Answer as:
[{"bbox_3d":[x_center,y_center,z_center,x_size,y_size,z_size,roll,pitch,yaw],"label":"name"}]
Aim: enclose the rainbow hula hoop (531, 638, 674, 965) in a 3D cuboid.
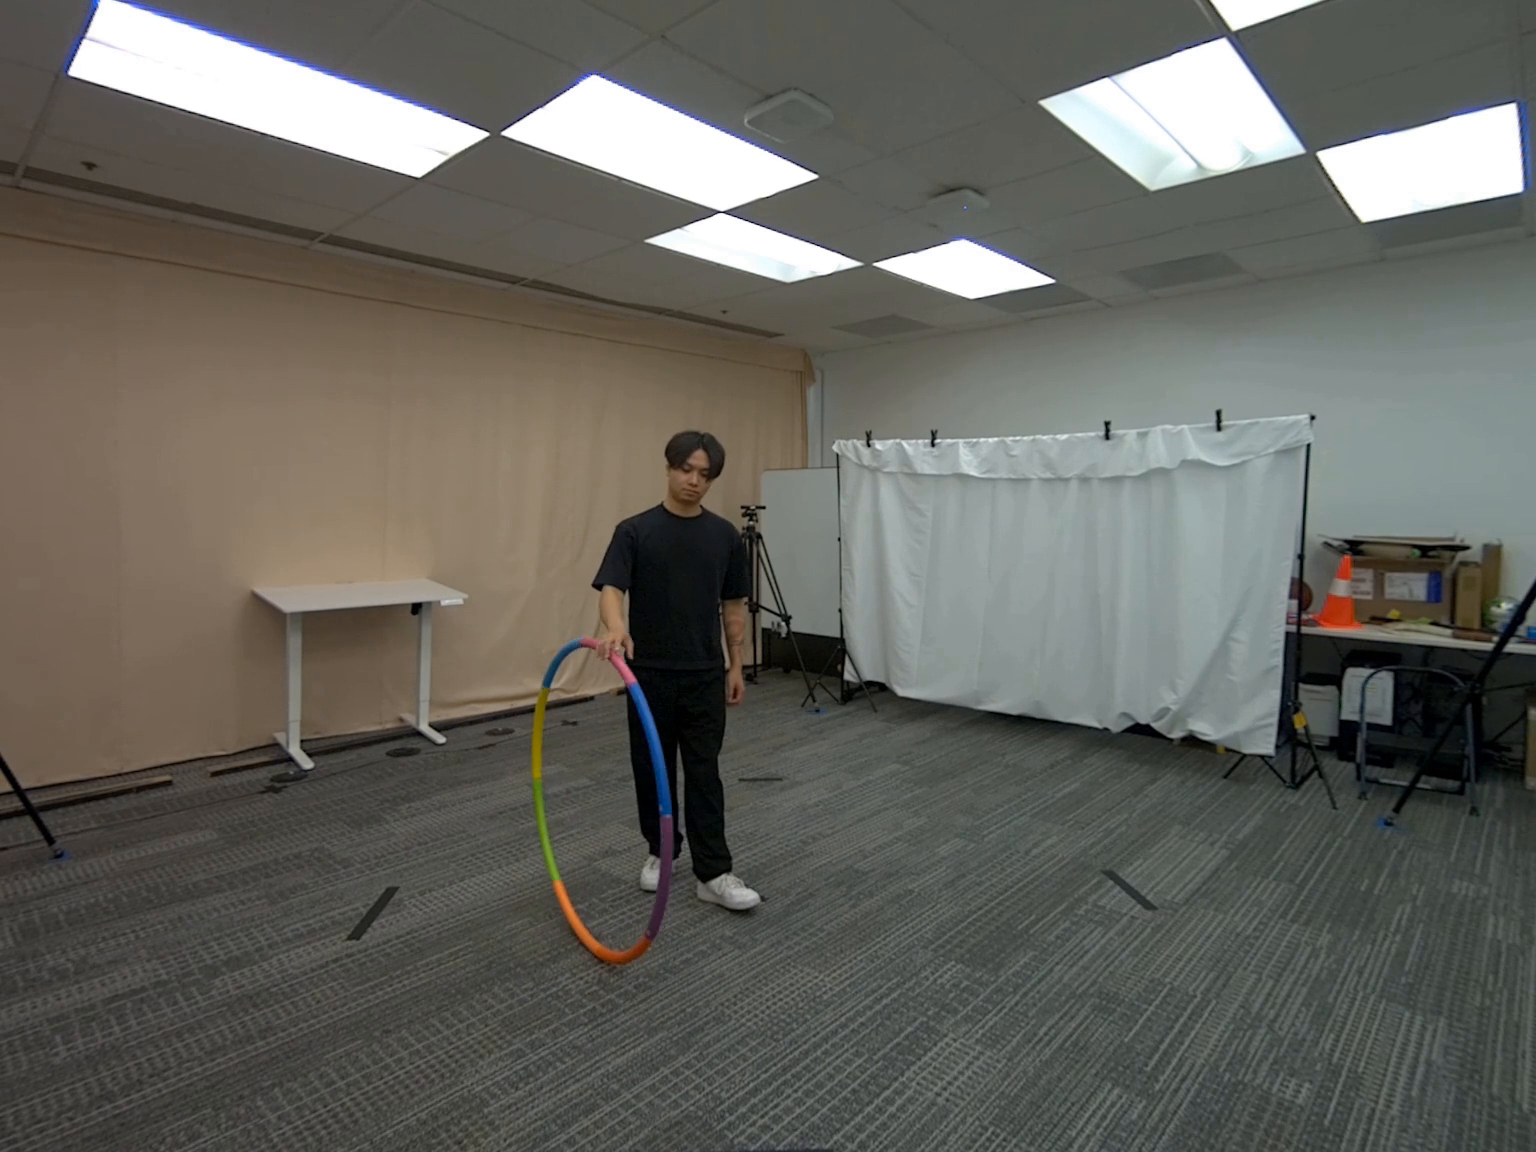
[{"bbox_3d":[-0.538,0.684,2.649,0.034,0.978,1.010,2,2,-36],"label":"rainbow hula hoop"}]
